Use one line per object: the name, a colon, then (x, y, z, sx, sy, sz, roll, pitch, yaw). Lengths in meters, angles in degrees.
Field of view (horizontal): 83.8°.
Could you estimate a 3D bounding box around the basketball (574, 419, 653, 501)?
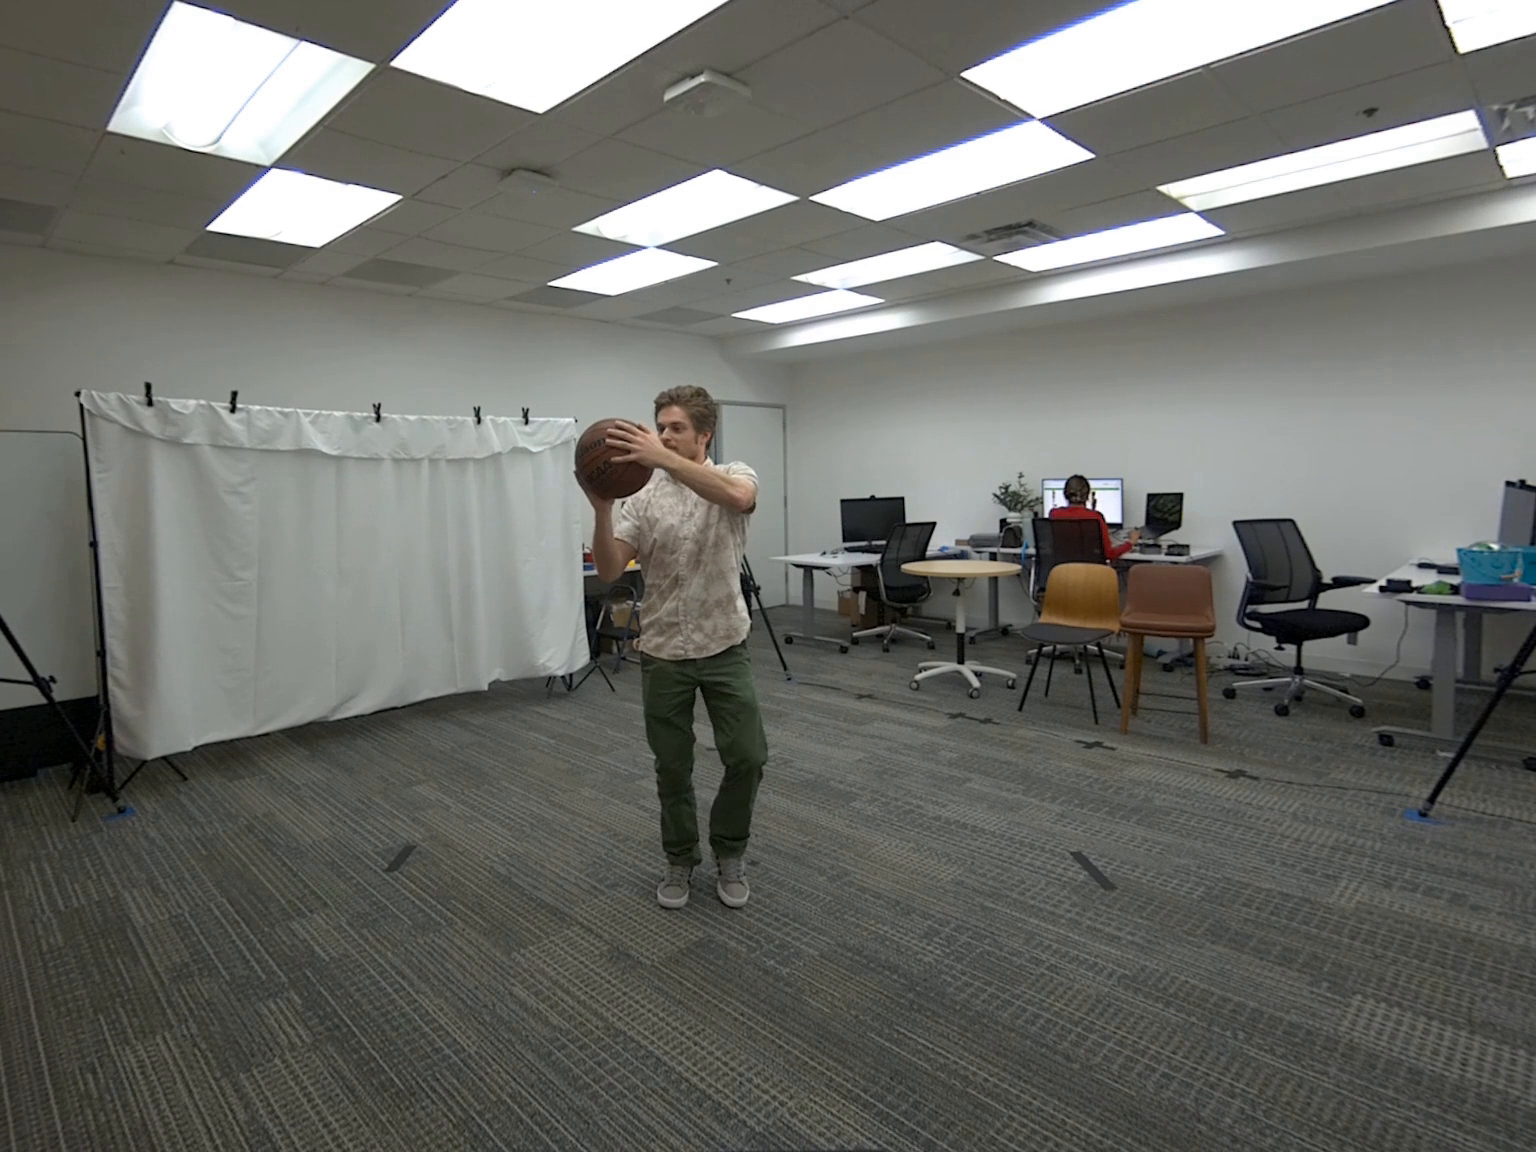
basketball: (-0.443, -0.348, 2.514, 0.236, 0.235, 0.237, -1, 5, -2)
